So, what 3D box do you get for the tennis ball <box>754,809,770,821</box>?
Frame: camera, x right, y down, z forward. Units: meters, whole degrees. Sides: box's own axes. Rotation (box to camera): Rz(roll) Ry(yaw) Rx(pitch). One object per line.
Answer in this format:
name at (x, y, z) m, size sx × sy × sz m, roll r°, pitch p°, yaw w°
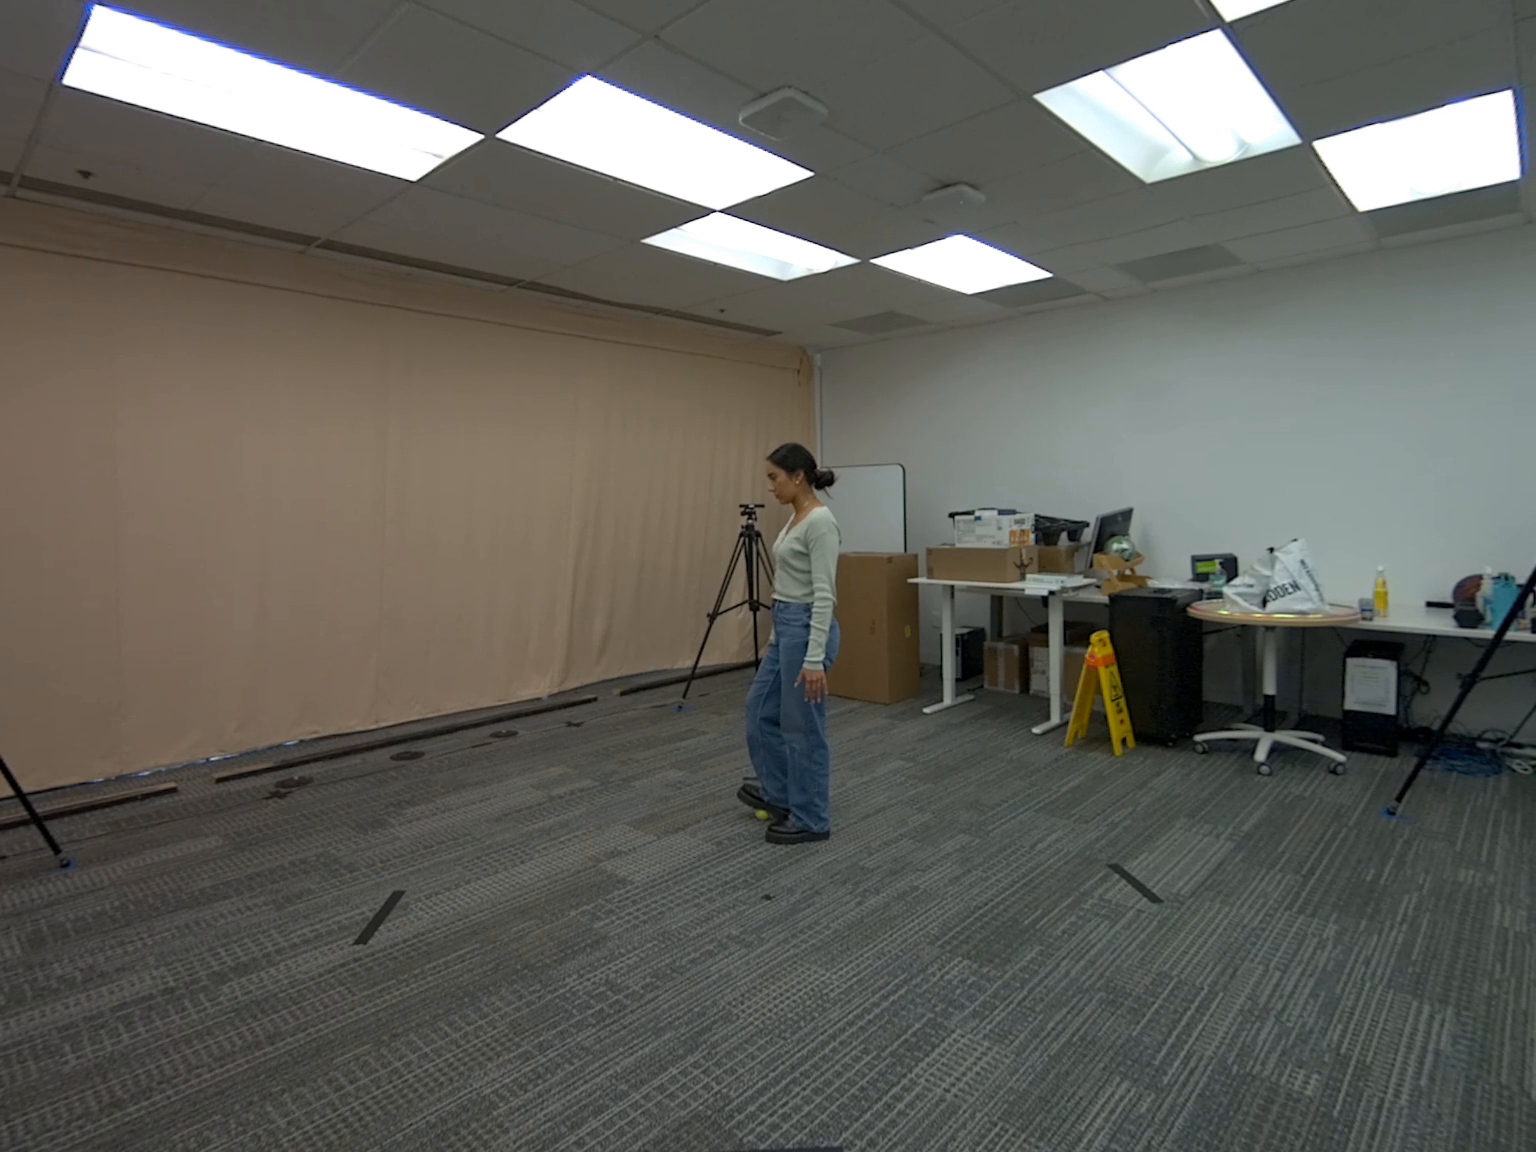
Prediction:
tennis ball at (-0.019, 1.061, 3.735) m, size 0.066 × 0.066 × 0.067 m, roll -1°, pitch 4°, yaw -2°
